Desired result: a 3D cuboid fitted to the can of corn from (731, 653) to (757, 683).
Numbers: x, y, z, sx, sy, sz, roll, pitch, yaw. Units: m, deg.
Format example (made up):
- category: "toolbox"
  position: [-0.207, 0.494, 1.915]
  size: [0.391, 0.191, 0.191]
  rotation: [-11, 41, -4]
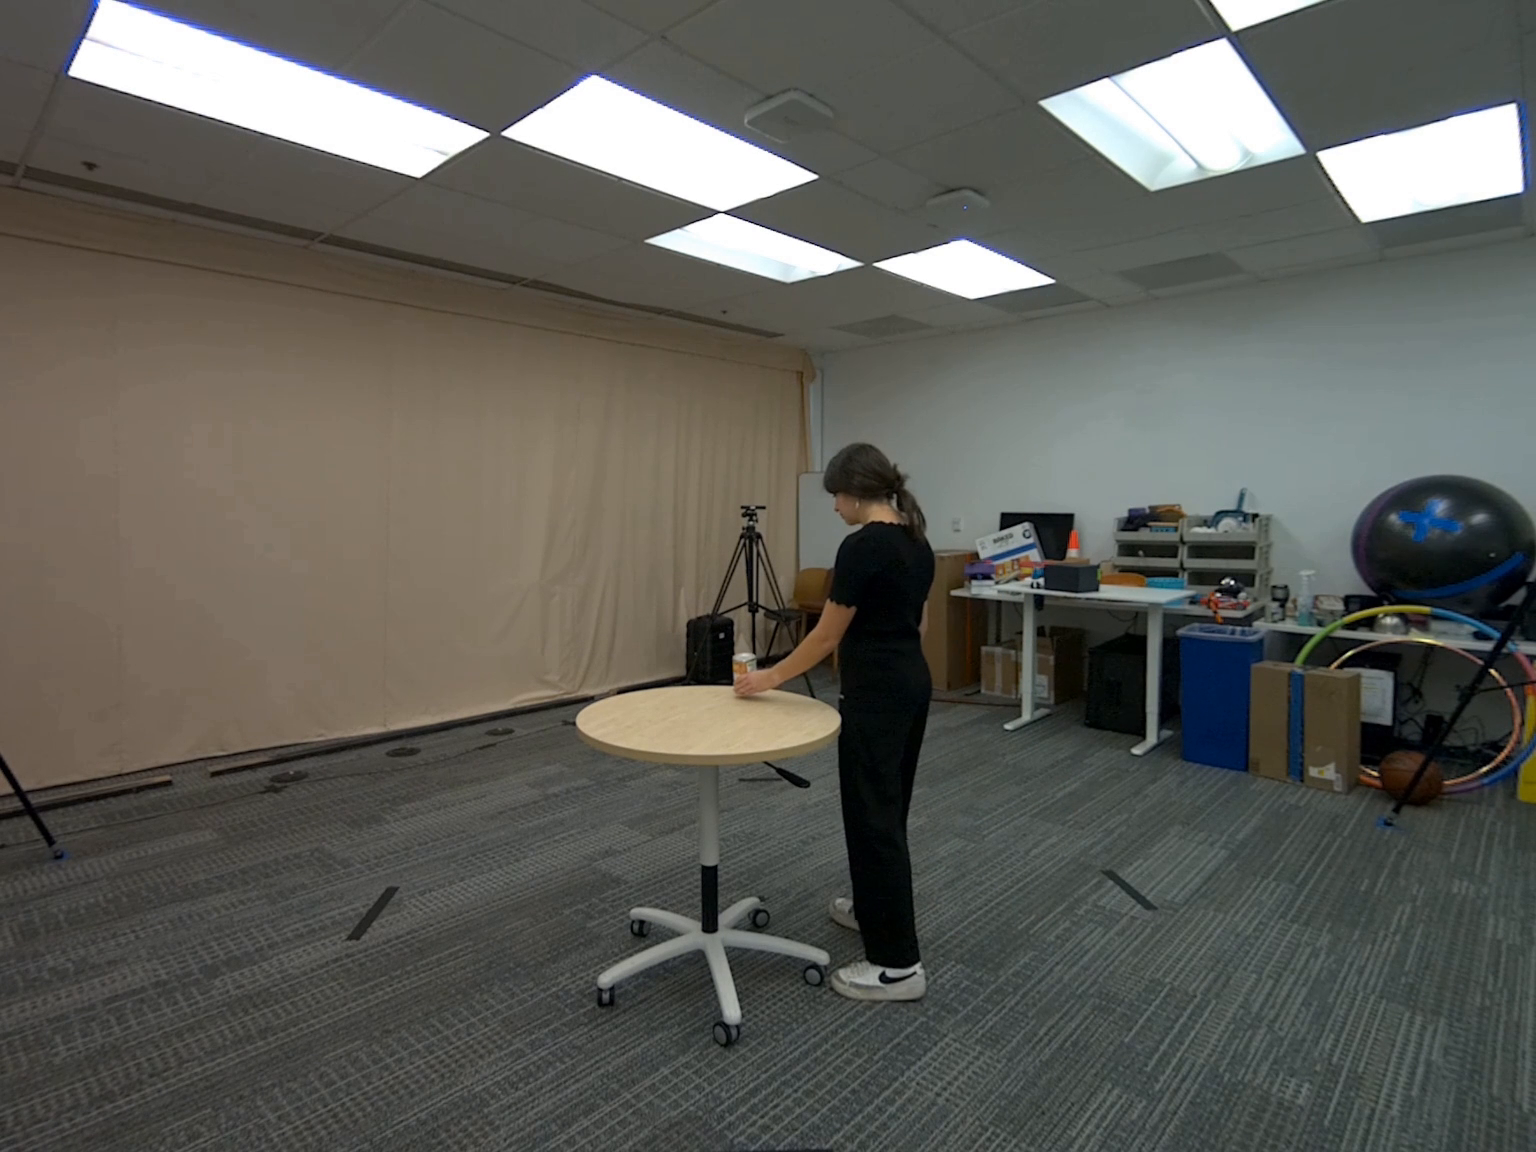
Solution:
- category: "can of corn"
  position: [-0.066, 0.314, 2.657]
  size: [0.074, 0.110, 0.075]
  rotation: [-3, 11, -1]
